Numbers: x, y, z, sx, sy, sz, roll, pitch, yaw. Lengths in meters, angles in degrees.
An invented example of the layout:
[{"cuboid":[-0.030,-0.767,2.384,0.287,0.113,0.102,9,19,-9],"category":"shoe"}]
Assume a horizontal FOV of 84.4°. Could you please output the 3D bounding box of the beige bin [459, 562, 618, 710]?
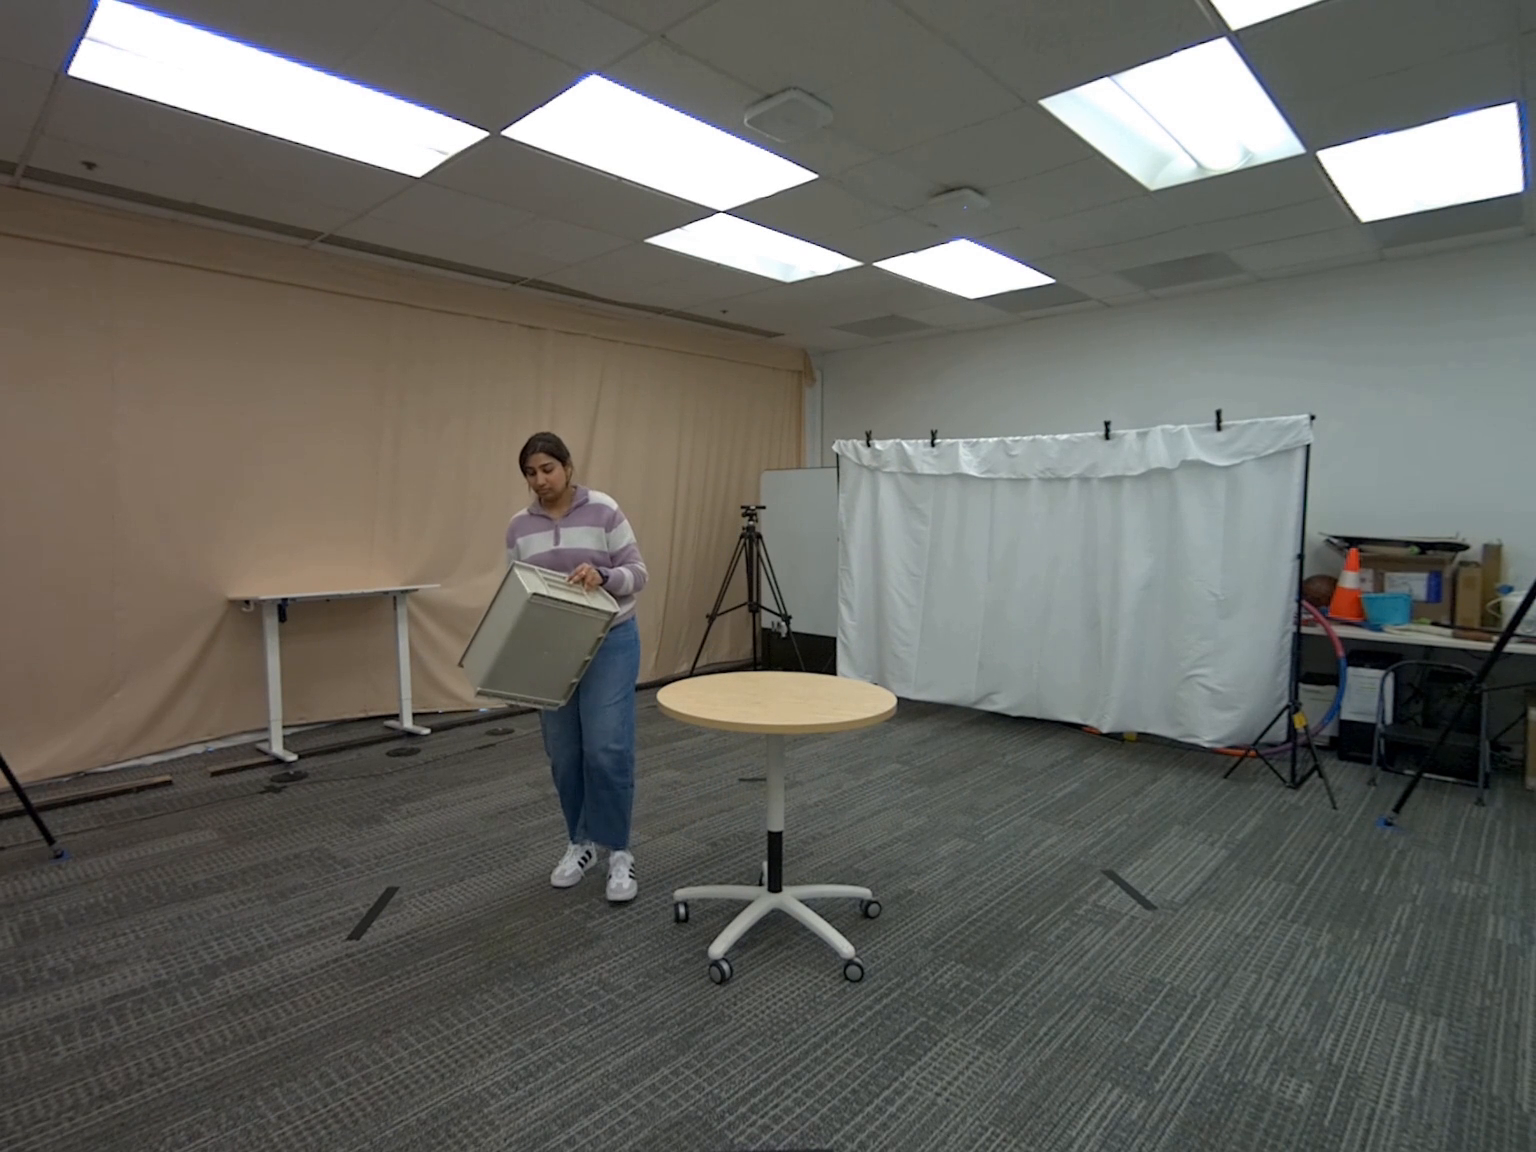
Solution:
[{"cuboid":[-0.750,0.214,2.804,0.364,0.423,0.196,21,19,-45],"category":"beige bin"}]
